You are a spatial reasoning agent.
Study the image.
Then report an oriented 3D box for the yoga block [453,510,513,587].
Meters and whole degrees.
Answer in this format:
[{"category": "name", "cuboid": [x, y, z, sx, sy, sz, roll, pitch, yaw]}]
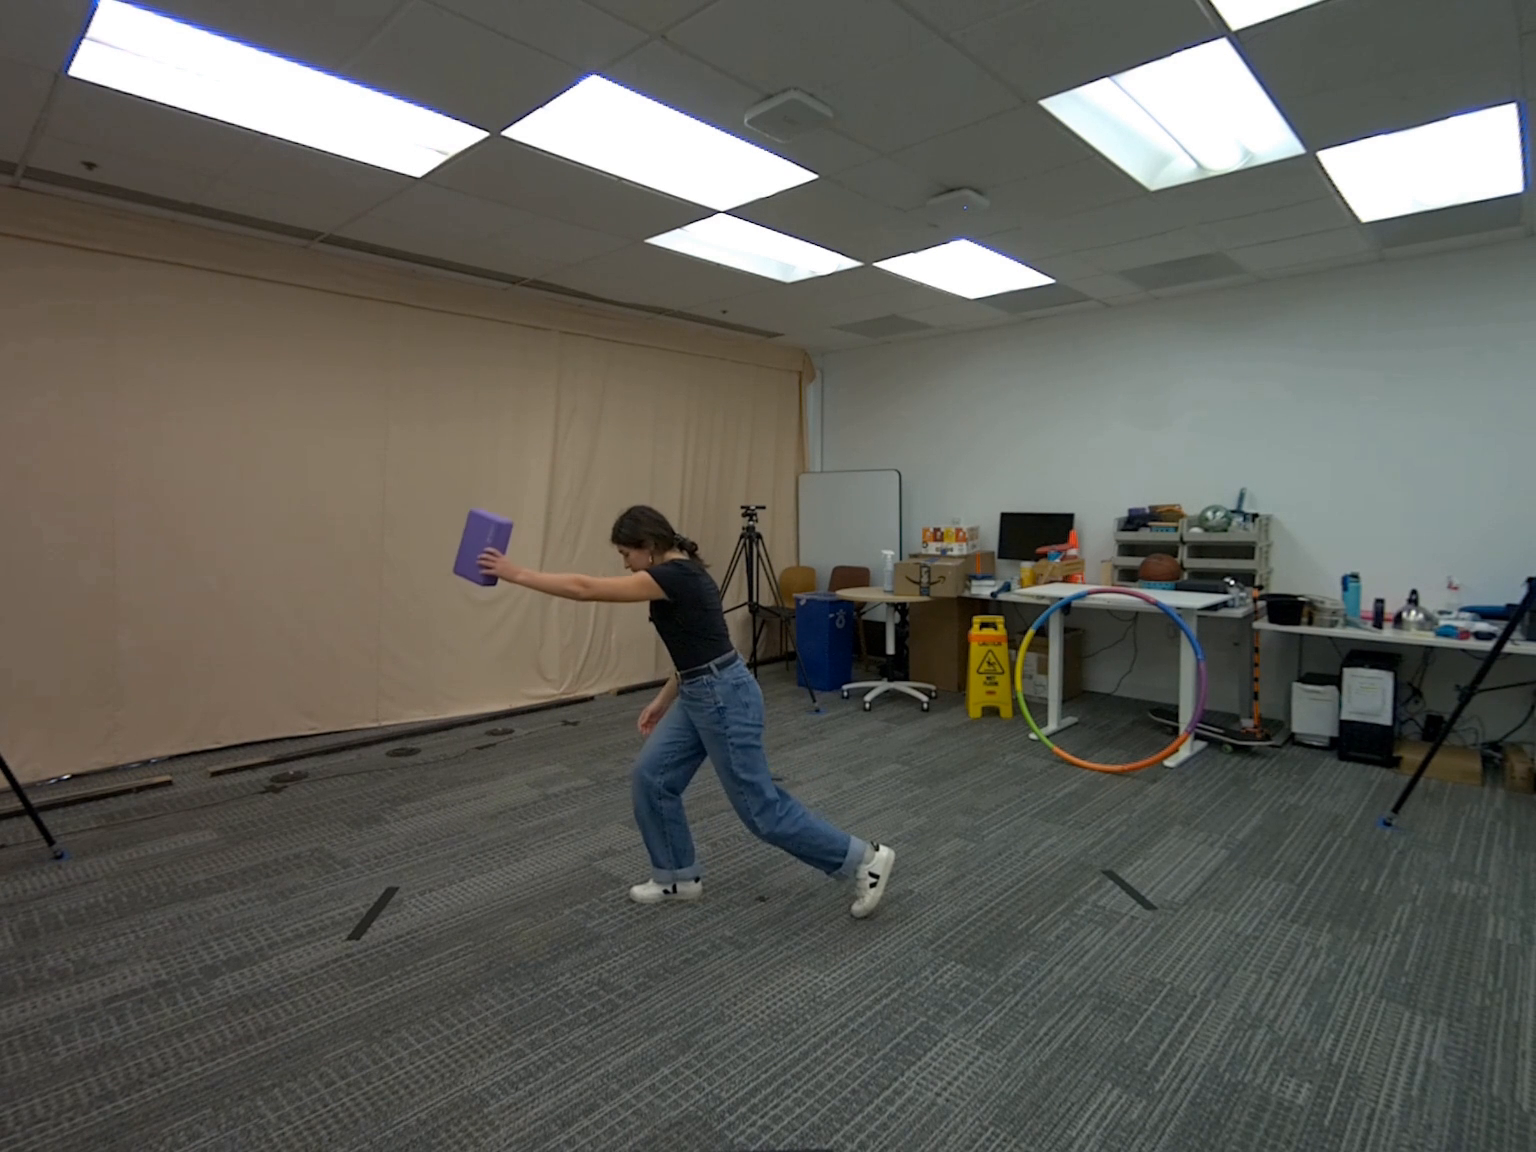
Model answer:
[{"category": "yoga block", "cuboid": [-0.943, -0.083, 2.814, 0.153, 0.229, 0.075, 19, 7, 21]}]
